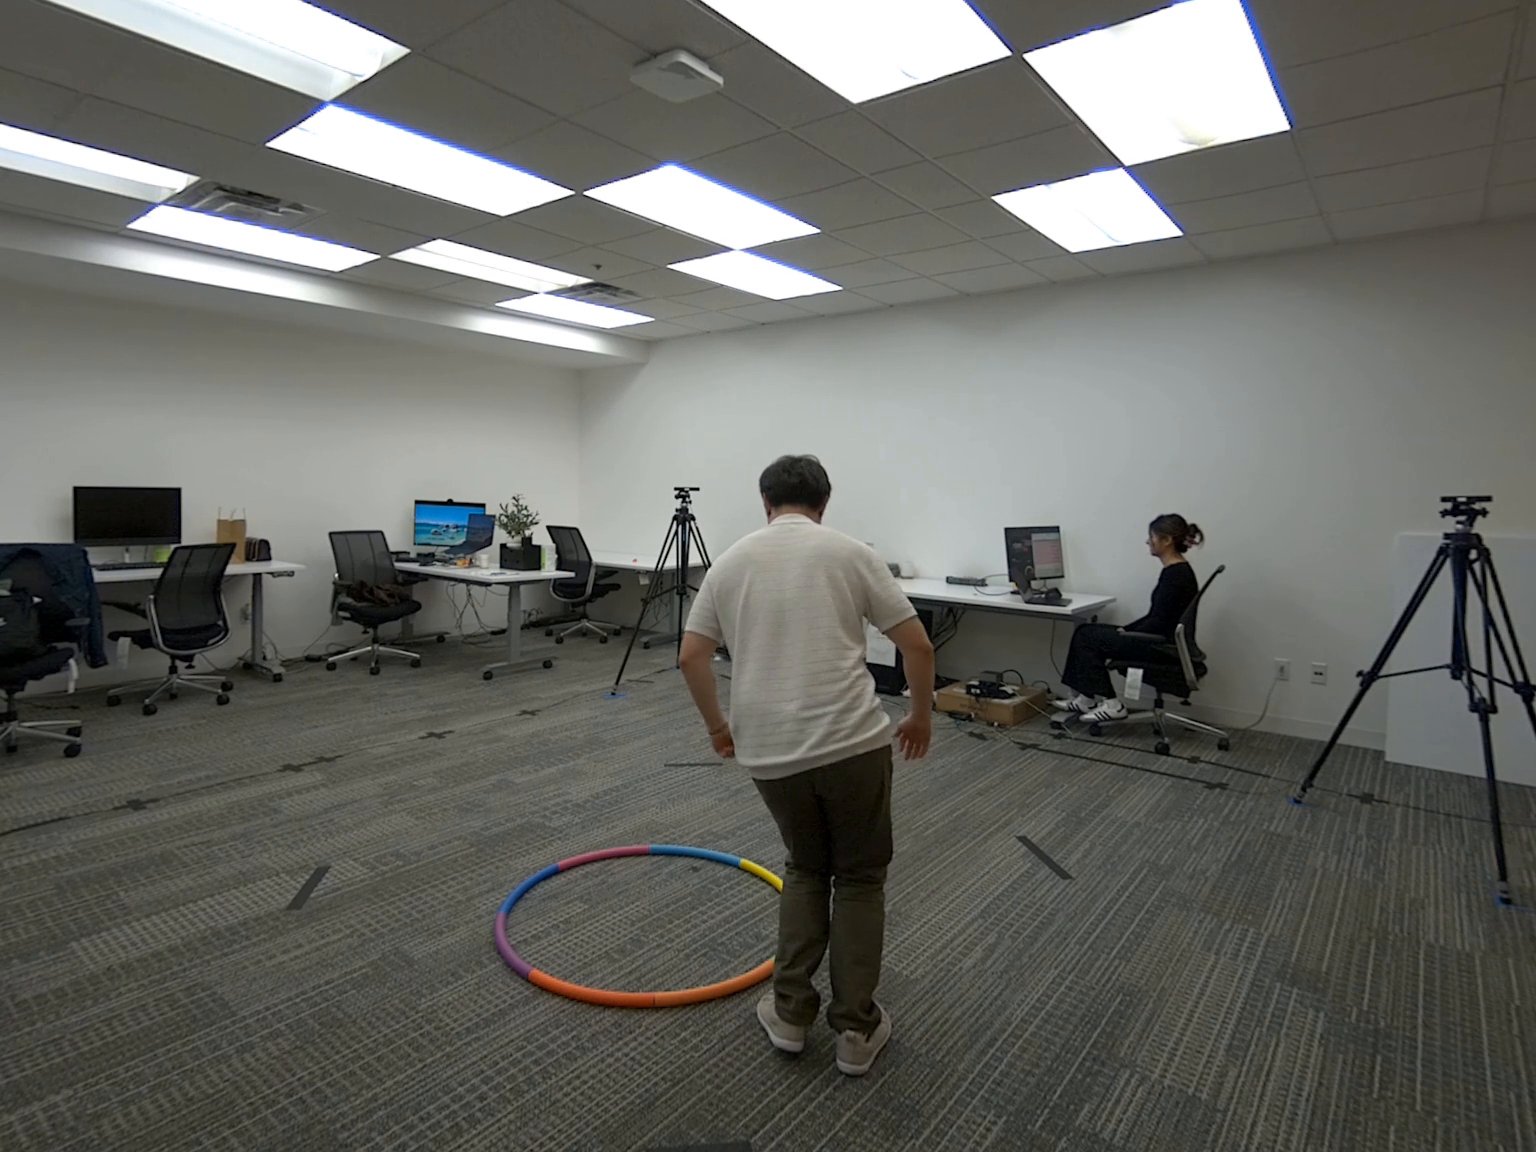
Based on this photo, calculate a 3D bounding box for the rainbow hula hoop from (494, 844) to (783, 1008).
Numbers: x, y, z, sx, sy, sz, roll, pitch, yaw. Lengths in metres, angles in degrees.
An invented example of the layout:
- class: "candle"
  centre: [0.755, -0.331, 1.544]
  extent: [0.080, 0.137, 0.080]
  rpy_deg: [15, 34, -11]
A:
- class: "rainbow hula hoop"
  centre: [-0.385, 1.071, 2.752]
  extent: [0.978, 0.035, 0.984]
  rpy_deg: [0, 5, -2]
